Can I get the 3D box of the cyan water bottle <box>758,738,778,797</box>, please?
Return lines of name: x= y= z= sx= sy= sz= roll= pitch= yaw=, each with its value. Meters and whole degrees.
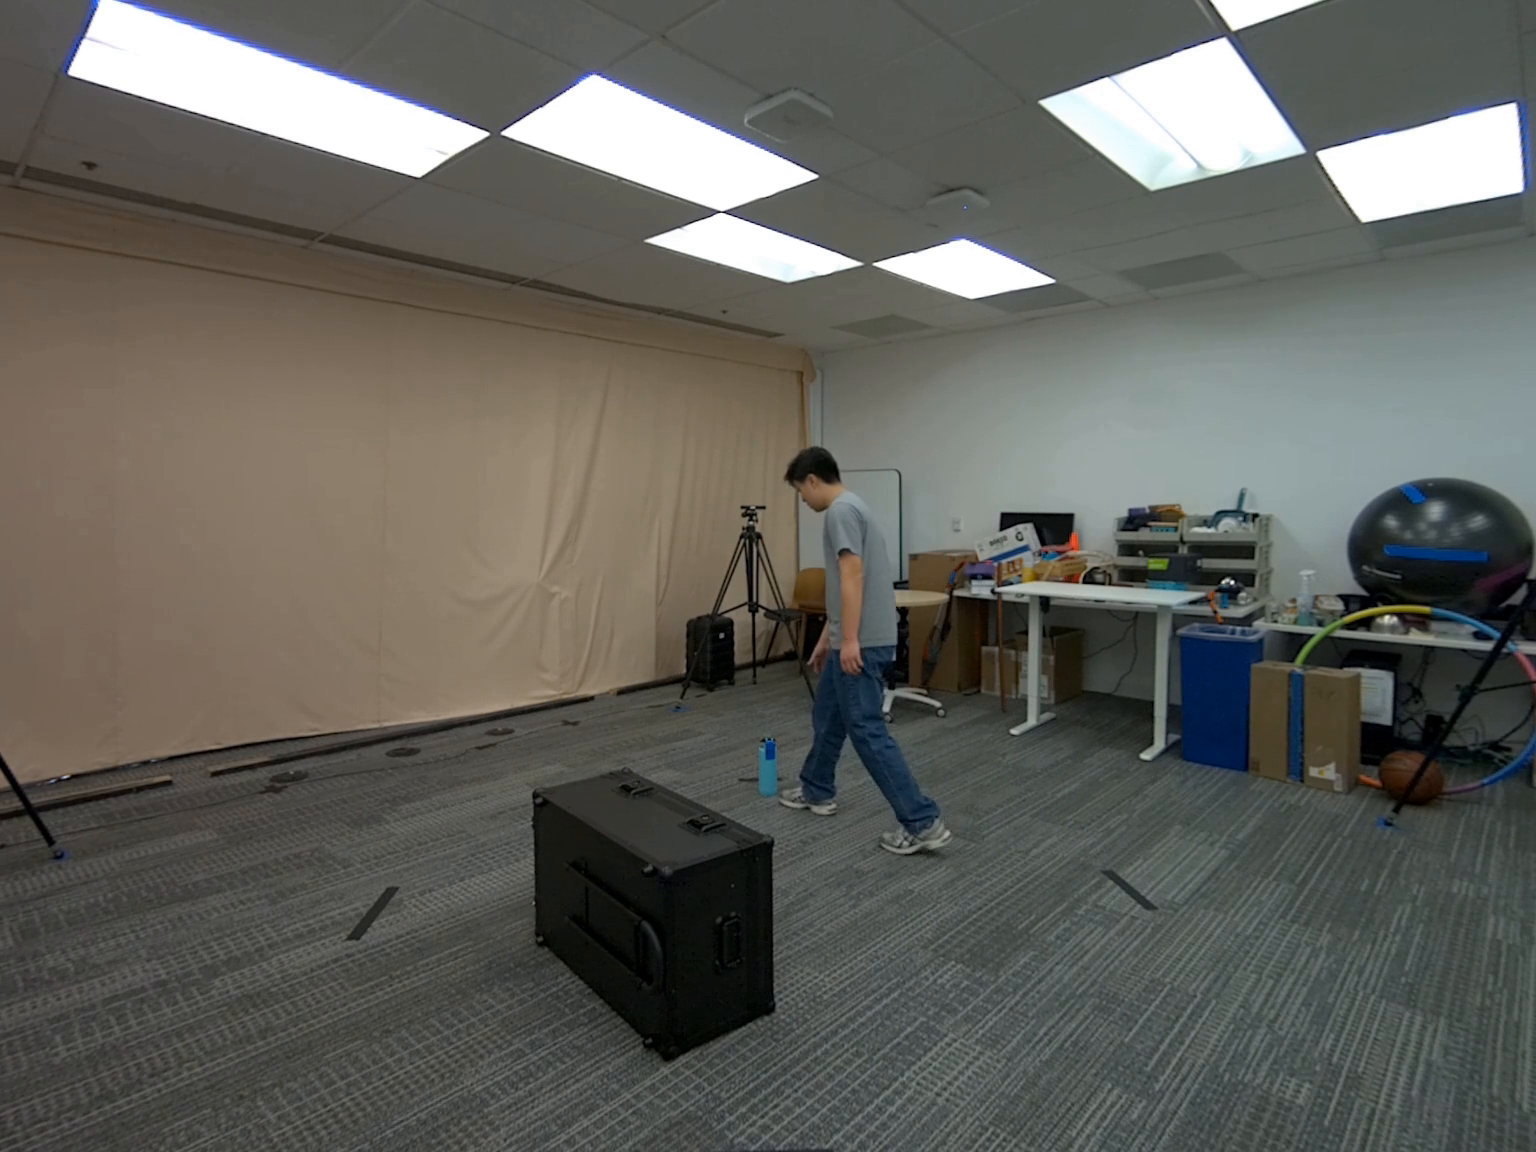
cyan water bottle: x=0.002 y=0.915 z=4.096 sx=0.092 sy=0.283 sz=0.092 roll=0 pitch=4 yaw=-2
